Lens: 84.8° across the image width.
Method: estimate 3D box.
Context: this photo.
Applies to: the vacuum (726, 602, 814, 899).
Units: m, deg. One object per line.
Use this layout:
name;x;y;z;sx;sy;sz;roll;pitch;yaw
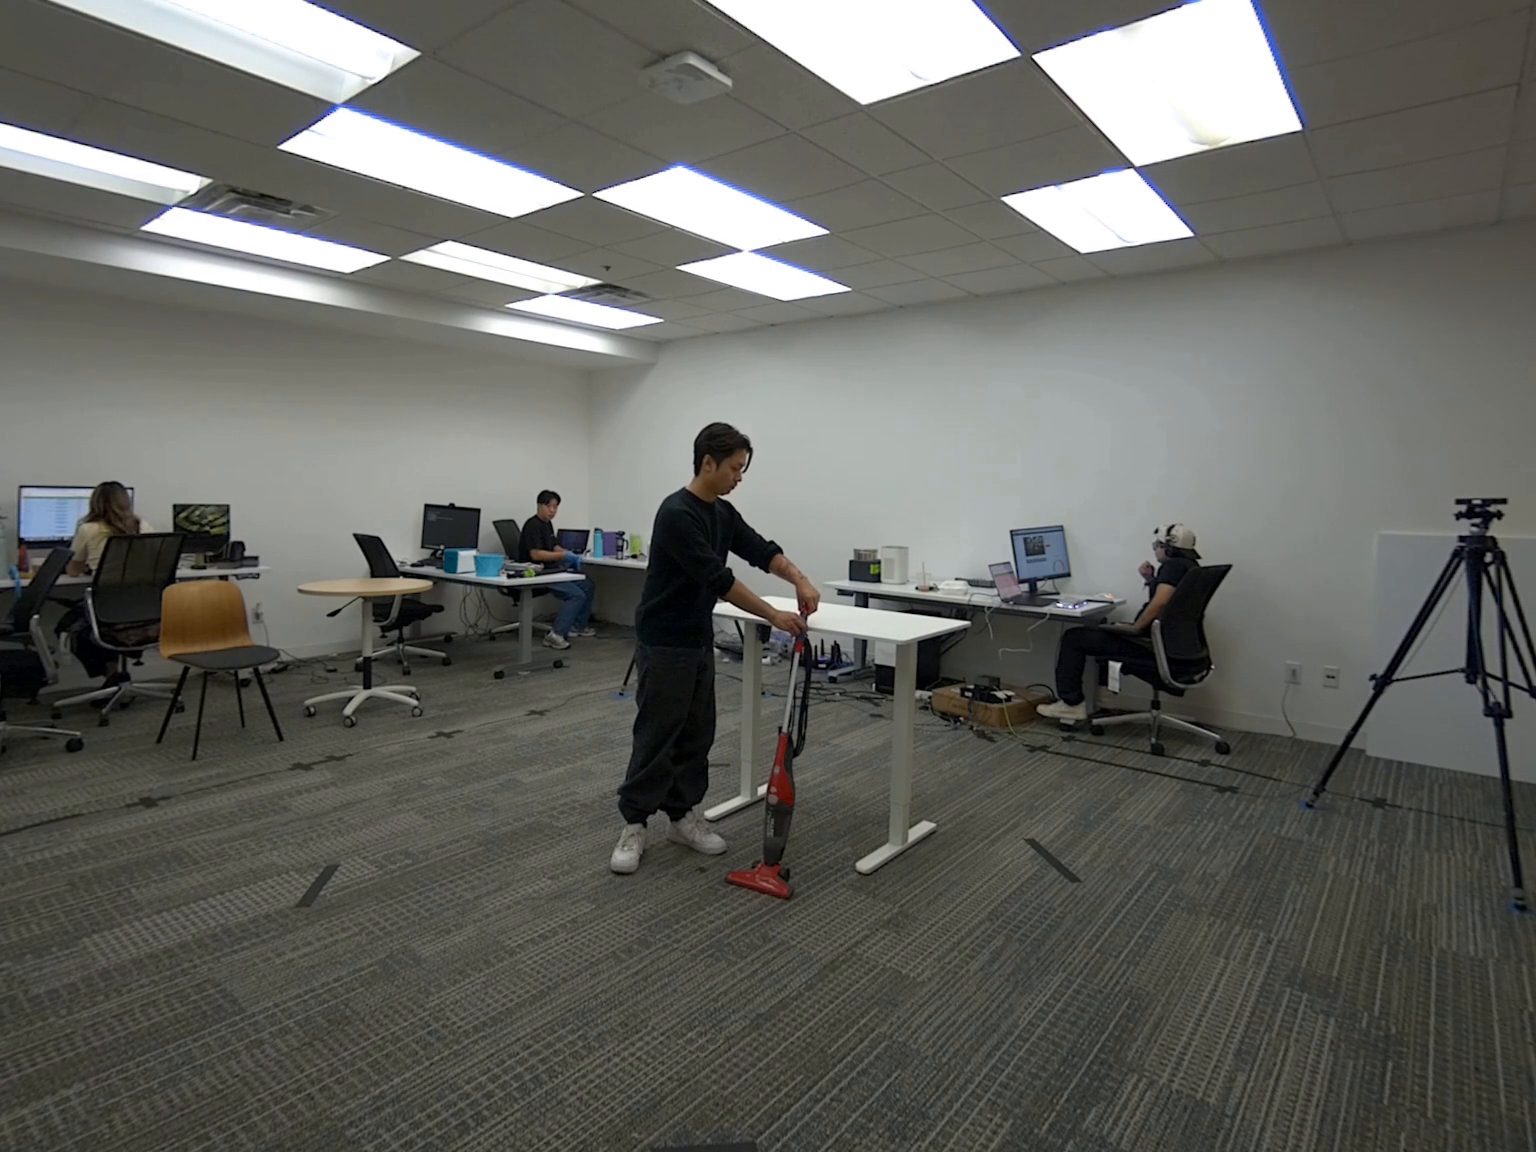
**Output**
vacuum;0.064;0.582;3.126;0.259;1.060;0.138;3;-15;26
